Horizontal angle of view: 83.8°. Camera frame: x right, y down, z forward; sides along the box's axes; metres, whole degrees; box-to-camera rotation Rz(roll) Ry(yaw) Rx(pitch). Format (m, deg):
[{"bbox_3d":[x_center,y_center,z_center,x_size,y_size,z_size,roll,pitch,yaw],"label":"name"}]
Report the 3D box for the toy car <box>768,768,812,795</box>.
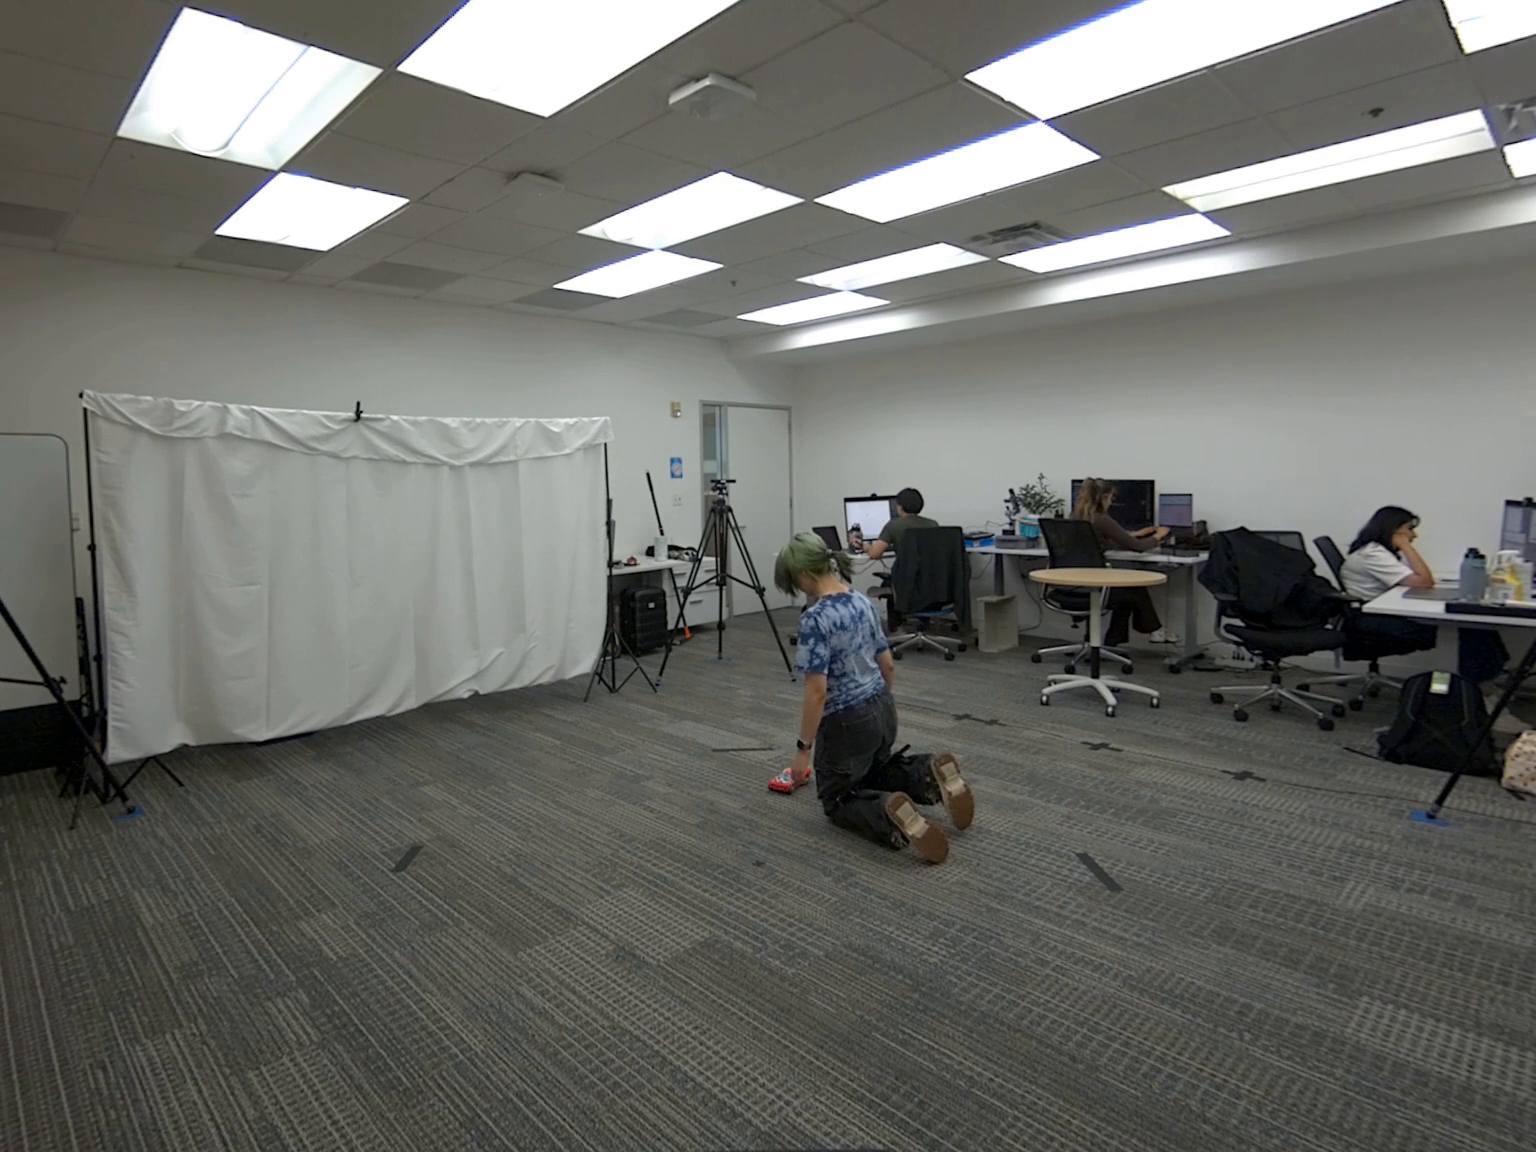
[{"bbox_3d":[0.103,0.926,3.901,0.134,0.082,0.251,2,16,31],"label":"toy car"}]
